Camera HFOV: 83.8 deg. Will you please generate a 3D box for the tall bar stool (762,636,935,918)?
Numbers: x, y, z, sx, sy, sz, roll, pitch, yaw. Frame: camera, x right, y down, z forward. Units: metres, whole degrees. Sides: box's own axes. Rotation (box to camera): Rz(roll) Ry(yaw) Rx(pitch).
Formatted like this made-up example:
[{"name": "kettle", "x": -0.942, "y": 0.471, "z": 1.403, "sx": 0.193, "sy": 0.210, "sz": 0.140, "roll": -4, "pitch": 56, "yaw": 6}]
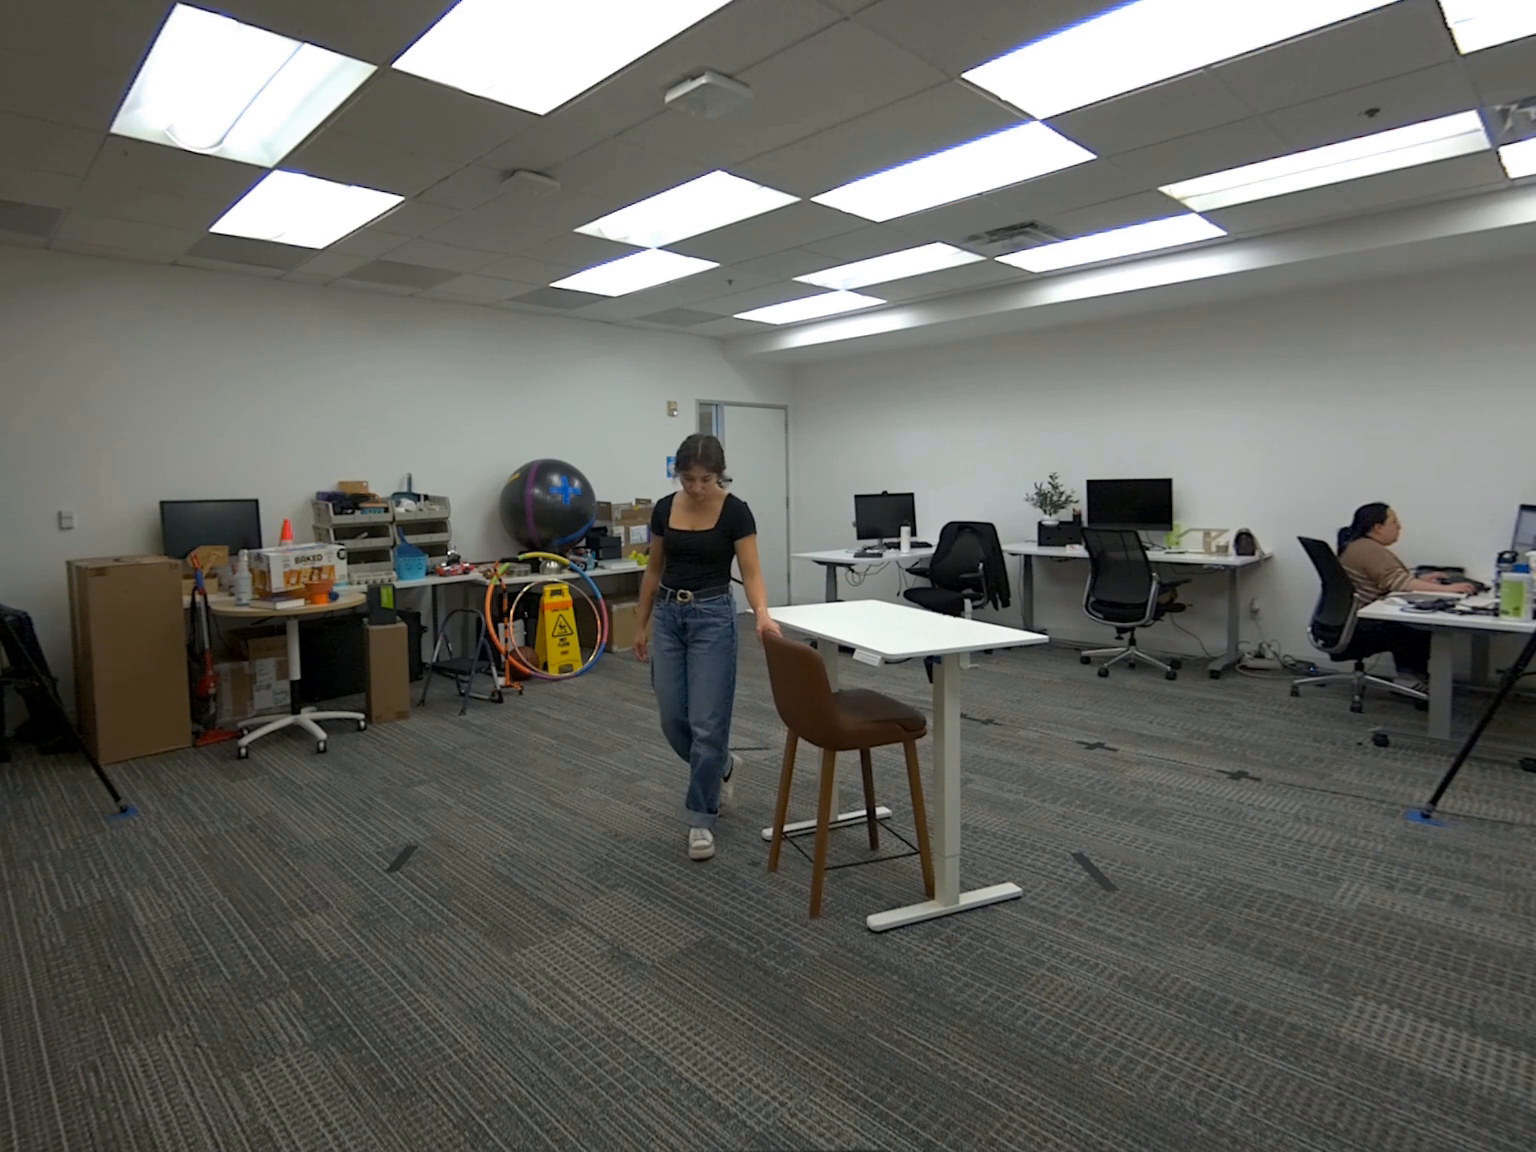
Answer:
[{"name": "tall bar stool", "x": 0.265, "y": 0.630, "z": 2.922, "sx": 0.459, "sy": 0.885, "sz": 0.467, "roll": -5, "pitch": 6, "yaw": -21}]
